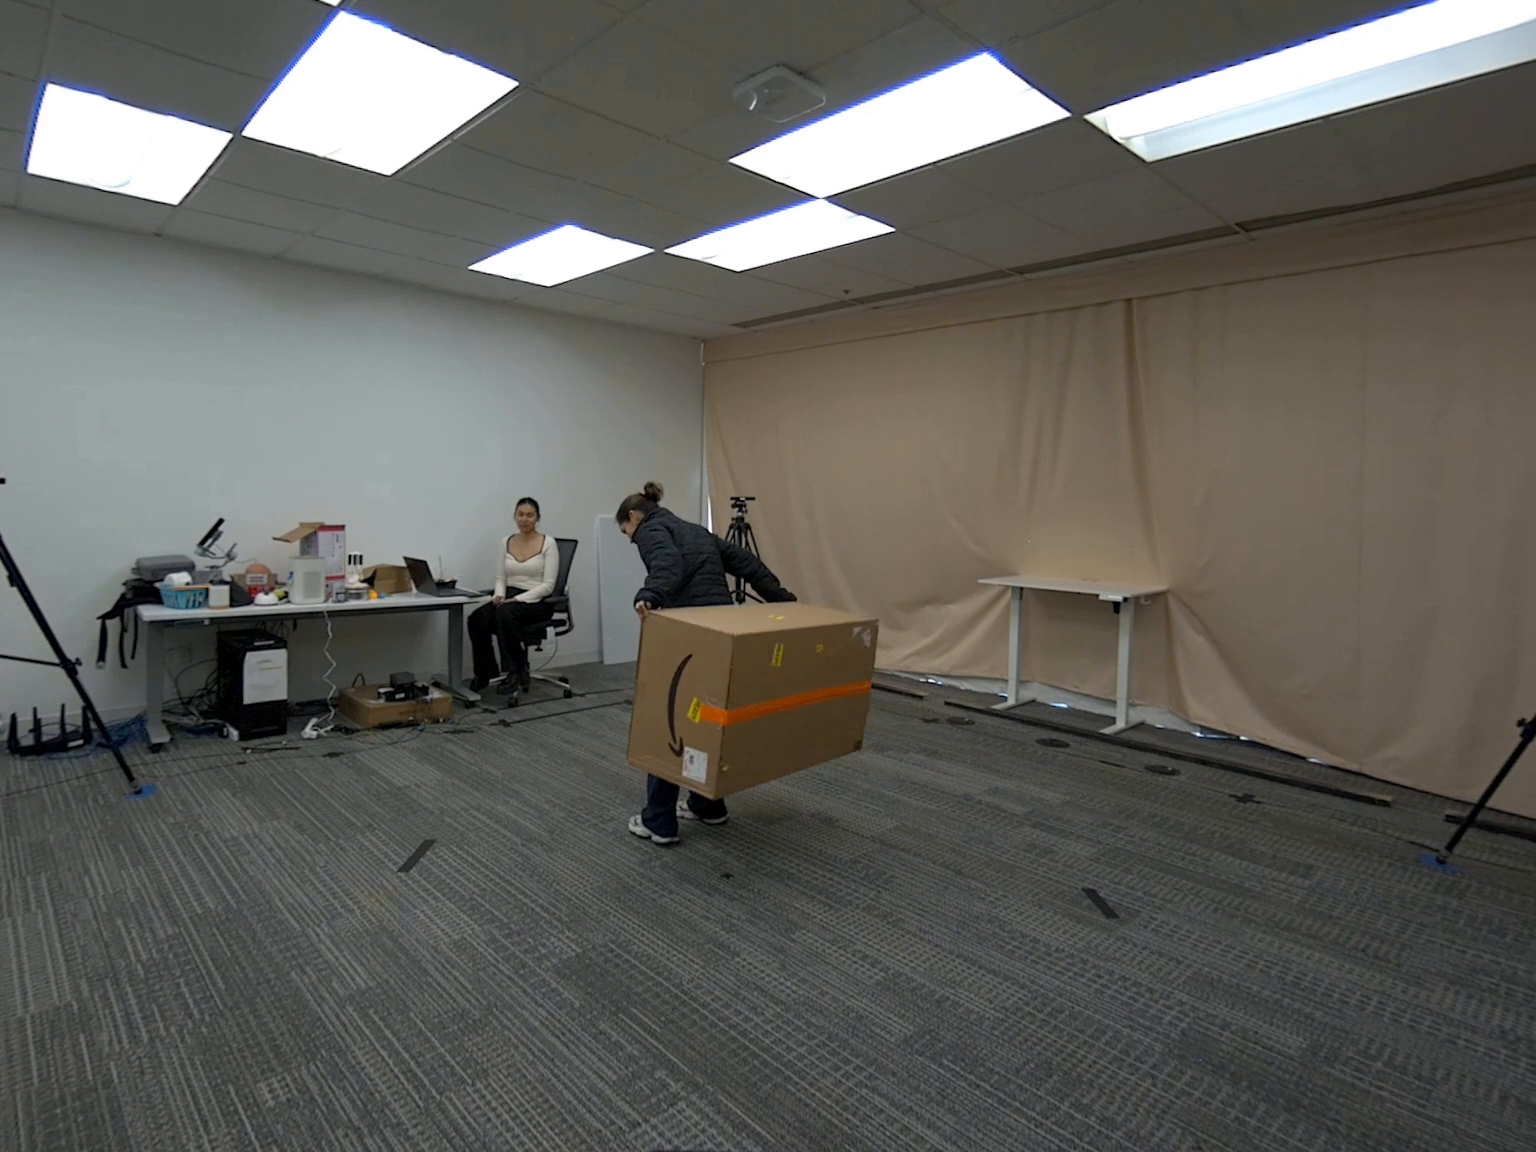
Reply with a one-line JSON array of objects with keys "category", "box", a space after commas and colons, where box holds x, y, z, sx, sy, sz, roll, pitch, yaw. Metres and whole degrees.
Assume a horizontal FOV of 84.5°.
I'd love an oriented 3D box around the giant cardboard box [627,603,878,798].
[{"category": "giant cardboard box", "box": [-0.019, 0.439, 3.314, 0.437, 0.576, 1.002, 10, 6, 35]}]
